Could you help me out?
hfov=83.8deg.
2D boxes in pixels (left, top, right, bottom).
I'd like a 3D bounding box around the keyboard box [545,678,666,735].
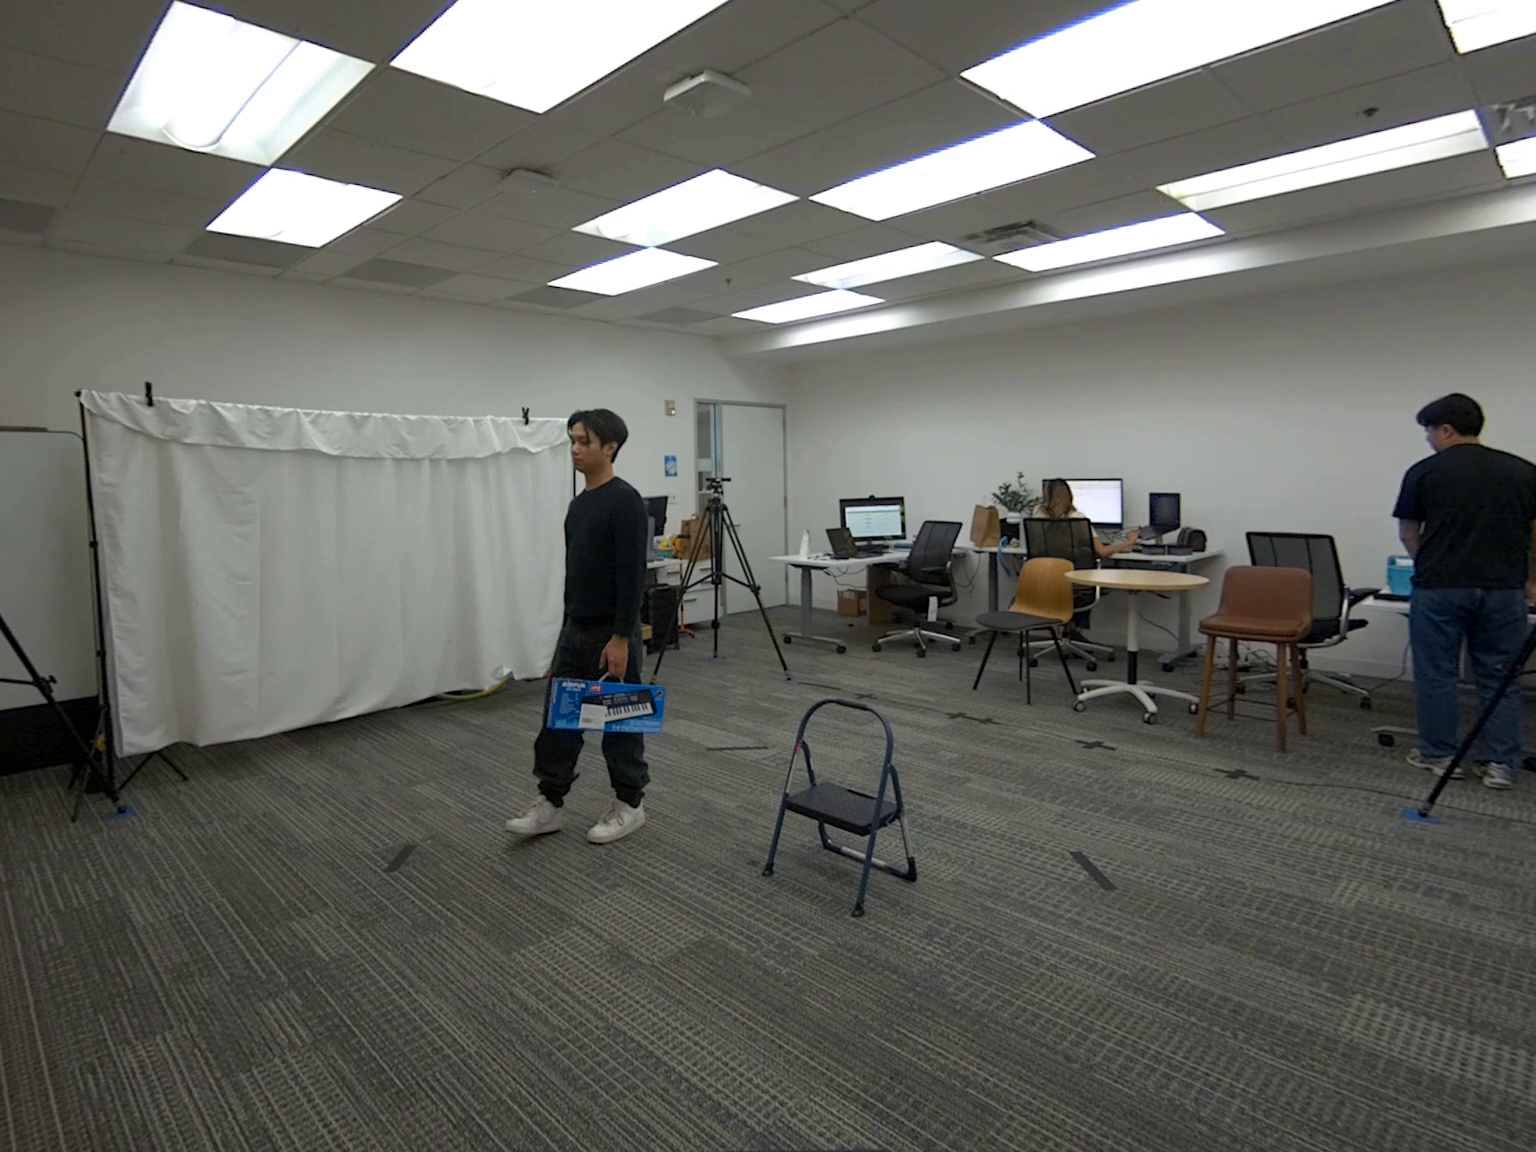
[{"bbox_3d":[-0.577,0.478,3.105,0.423,0.177,0.060,9,-8,-35],"label":"keyboard box"}]
